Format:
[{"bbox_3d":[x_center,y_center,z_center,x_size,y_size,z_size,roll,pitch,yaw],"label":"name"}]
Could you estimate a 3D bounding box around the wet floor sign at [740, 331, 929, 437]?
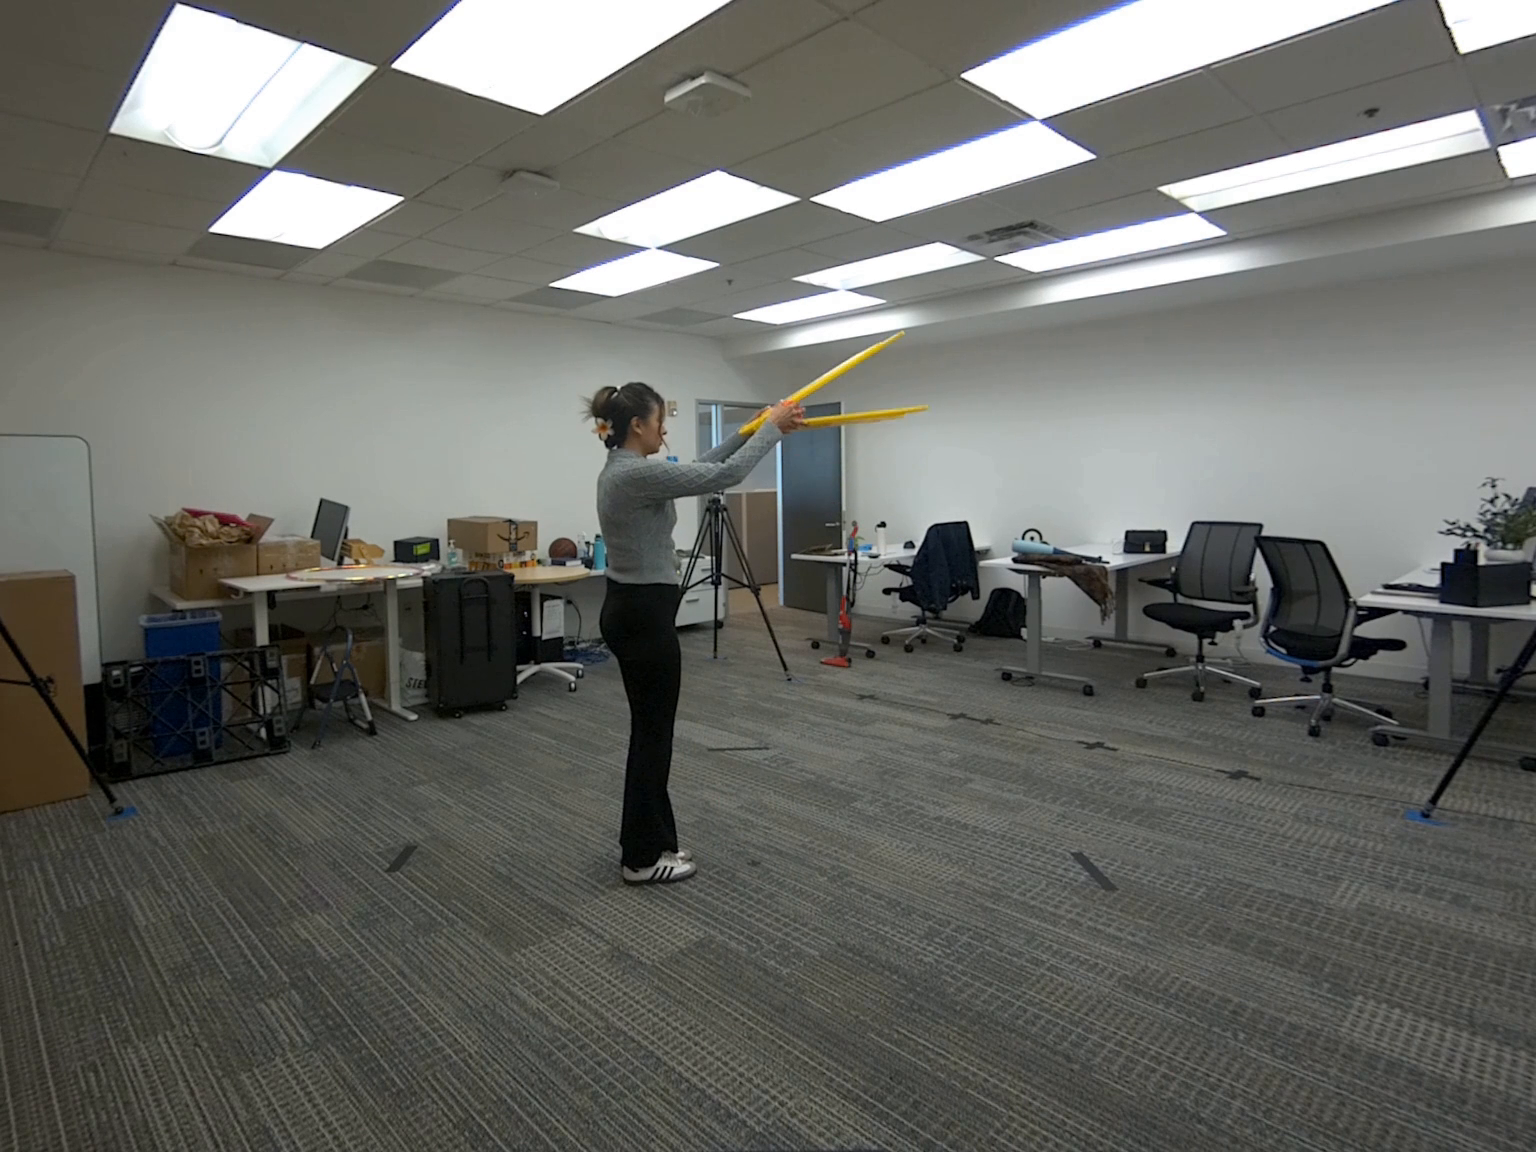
[{"bbox_3d":[0.209,-0.639,3.136,0.642,0.288,0.286,-20,7,-10],"label":"wet floor sign"}]
